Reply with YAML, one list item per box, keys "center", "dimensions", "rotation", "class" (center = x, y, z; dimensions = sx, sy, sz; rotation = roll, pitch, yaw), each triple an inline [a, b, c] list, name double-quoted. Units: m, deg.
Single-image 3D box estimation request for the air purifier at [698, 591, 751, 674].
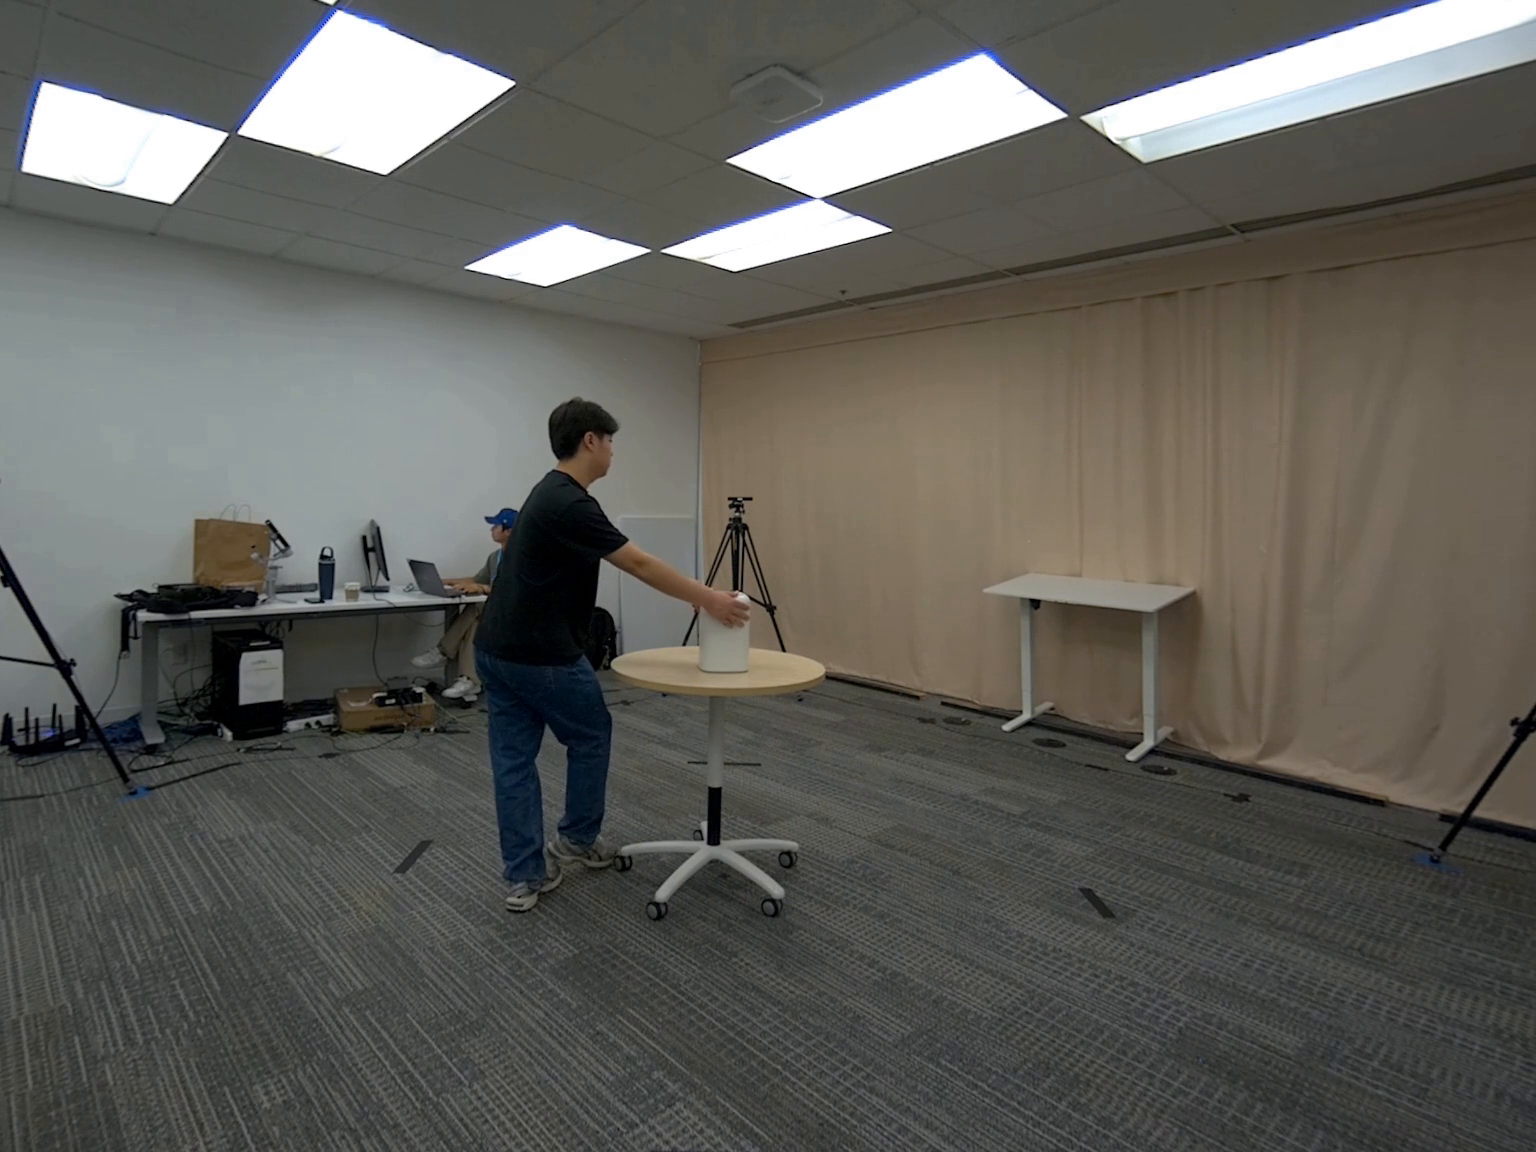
- center: [-0.153, 0.197, 2.942]
  dimensions: [0.171, 0.265, 0.172]
  rotation: [2, 4, -3]
  class: "air purifier"
